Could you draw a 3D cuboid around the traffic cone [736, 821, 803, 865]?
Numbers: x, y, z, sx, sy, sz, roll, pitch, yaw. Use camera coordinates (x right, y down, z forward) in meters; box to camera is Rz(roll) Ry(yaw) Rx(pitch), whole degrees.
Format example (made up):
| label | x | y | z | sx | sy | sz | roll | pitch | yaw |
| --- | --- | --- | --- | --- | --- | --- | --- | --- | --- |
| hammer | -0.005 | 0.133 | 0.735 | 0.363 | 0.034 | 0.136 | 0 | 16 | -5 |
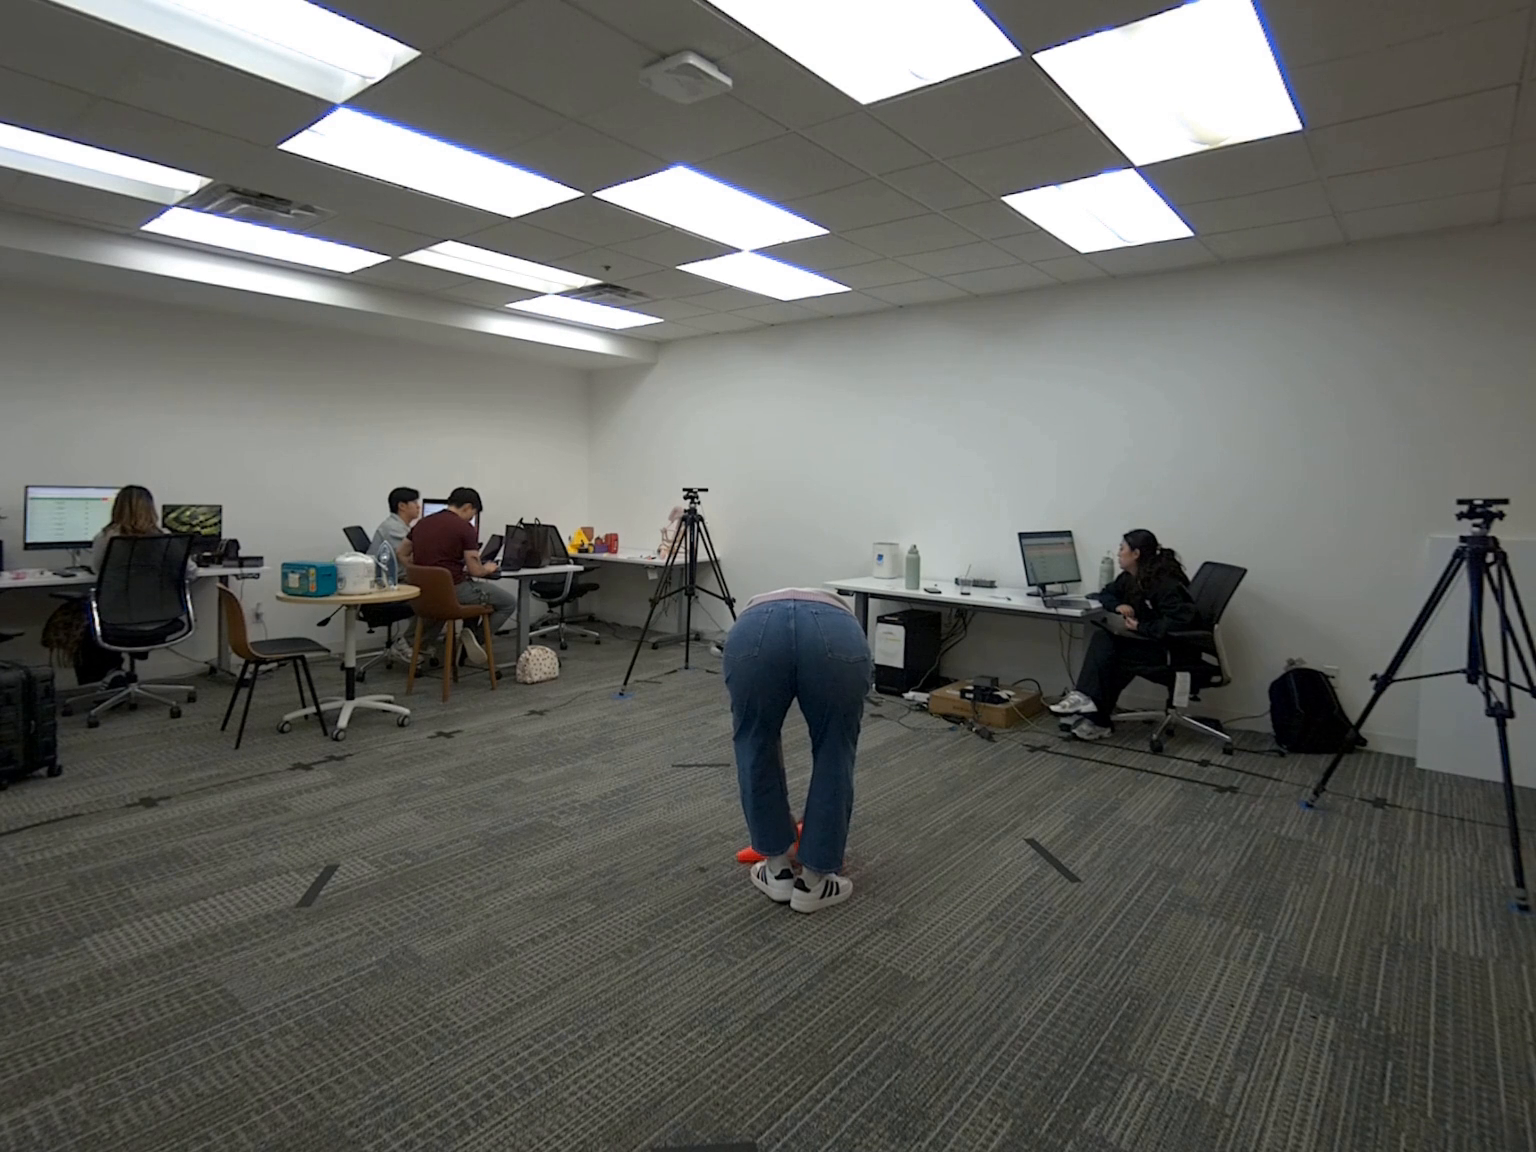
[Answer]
| label | x | y | z | sx | sy | sz | roll | pitch | yaw |
| --- | --- | --- | --- | --- | --- | --- | --- | --- | --- |
| traffic cone | 0.061 | 0.999 | 3.197 | 0.384 | 0.205 | 0.202 | -13 | -8 | 2 |
